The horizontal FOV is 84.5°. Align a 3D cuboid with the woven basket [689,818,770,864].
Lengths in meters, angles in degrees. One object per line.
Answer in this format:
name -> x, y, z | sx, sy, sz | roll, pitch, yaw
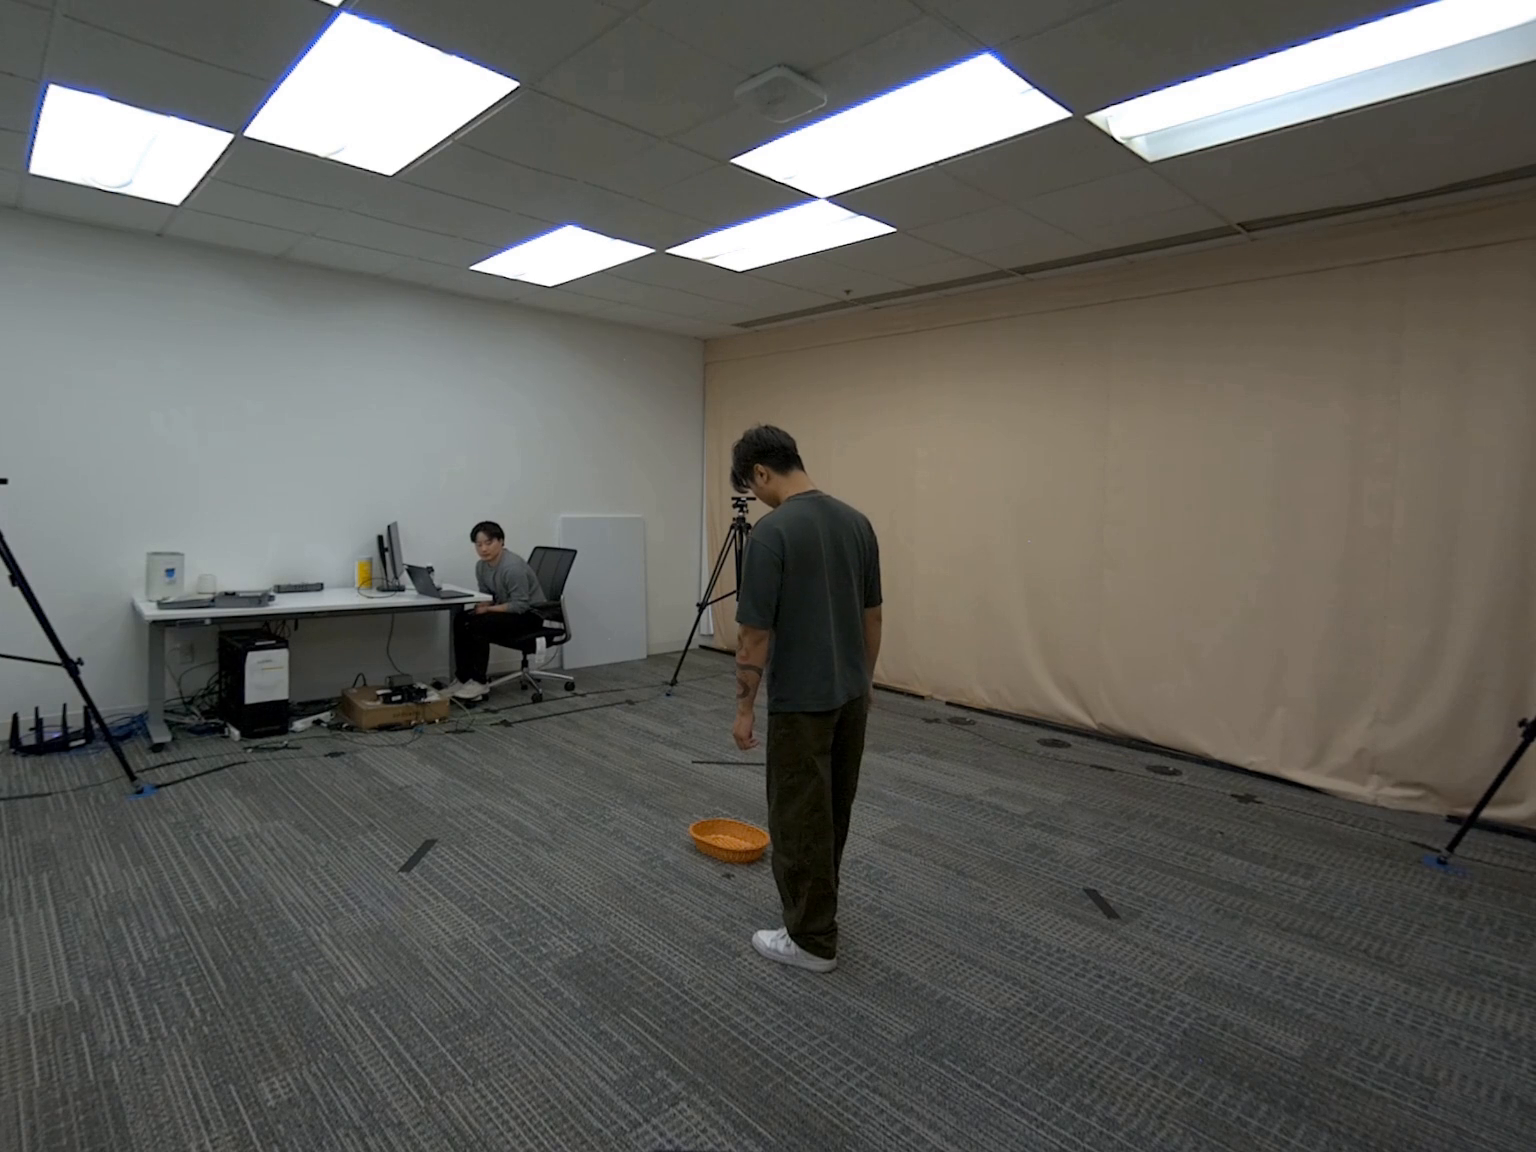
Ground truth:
woven basket -> -0.162, 1.047, 3.333 | 0.359, 0.073, 0.247 | 6, 6, 40
